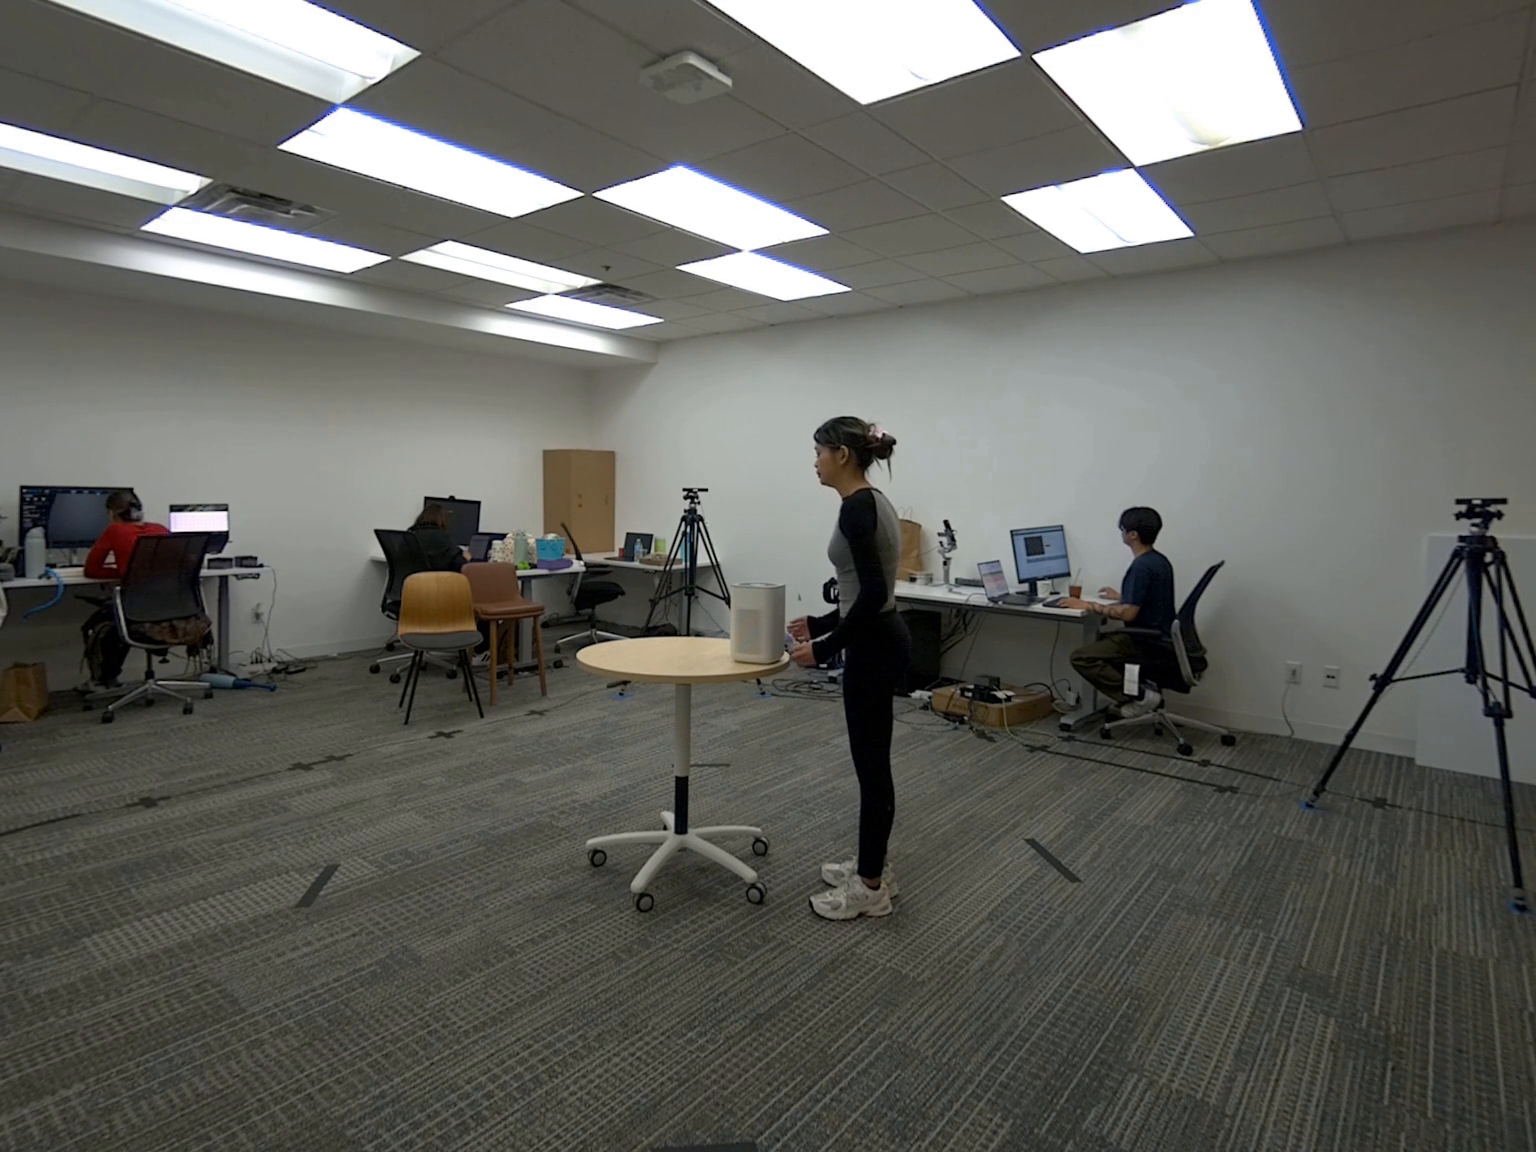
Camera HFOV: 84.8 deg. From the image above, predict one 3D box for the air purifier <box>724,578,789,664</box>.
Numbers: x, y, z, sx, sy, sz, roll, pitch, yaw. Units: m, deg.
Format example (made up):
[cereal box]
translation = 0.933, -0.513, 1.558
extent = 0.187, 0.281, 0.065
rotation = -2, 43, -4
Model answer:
[air purifier]
translation = -0.040, 0.152, 2.967
extent = 0.175, 0.265, 0.168
rotation = 3, 3, 20
